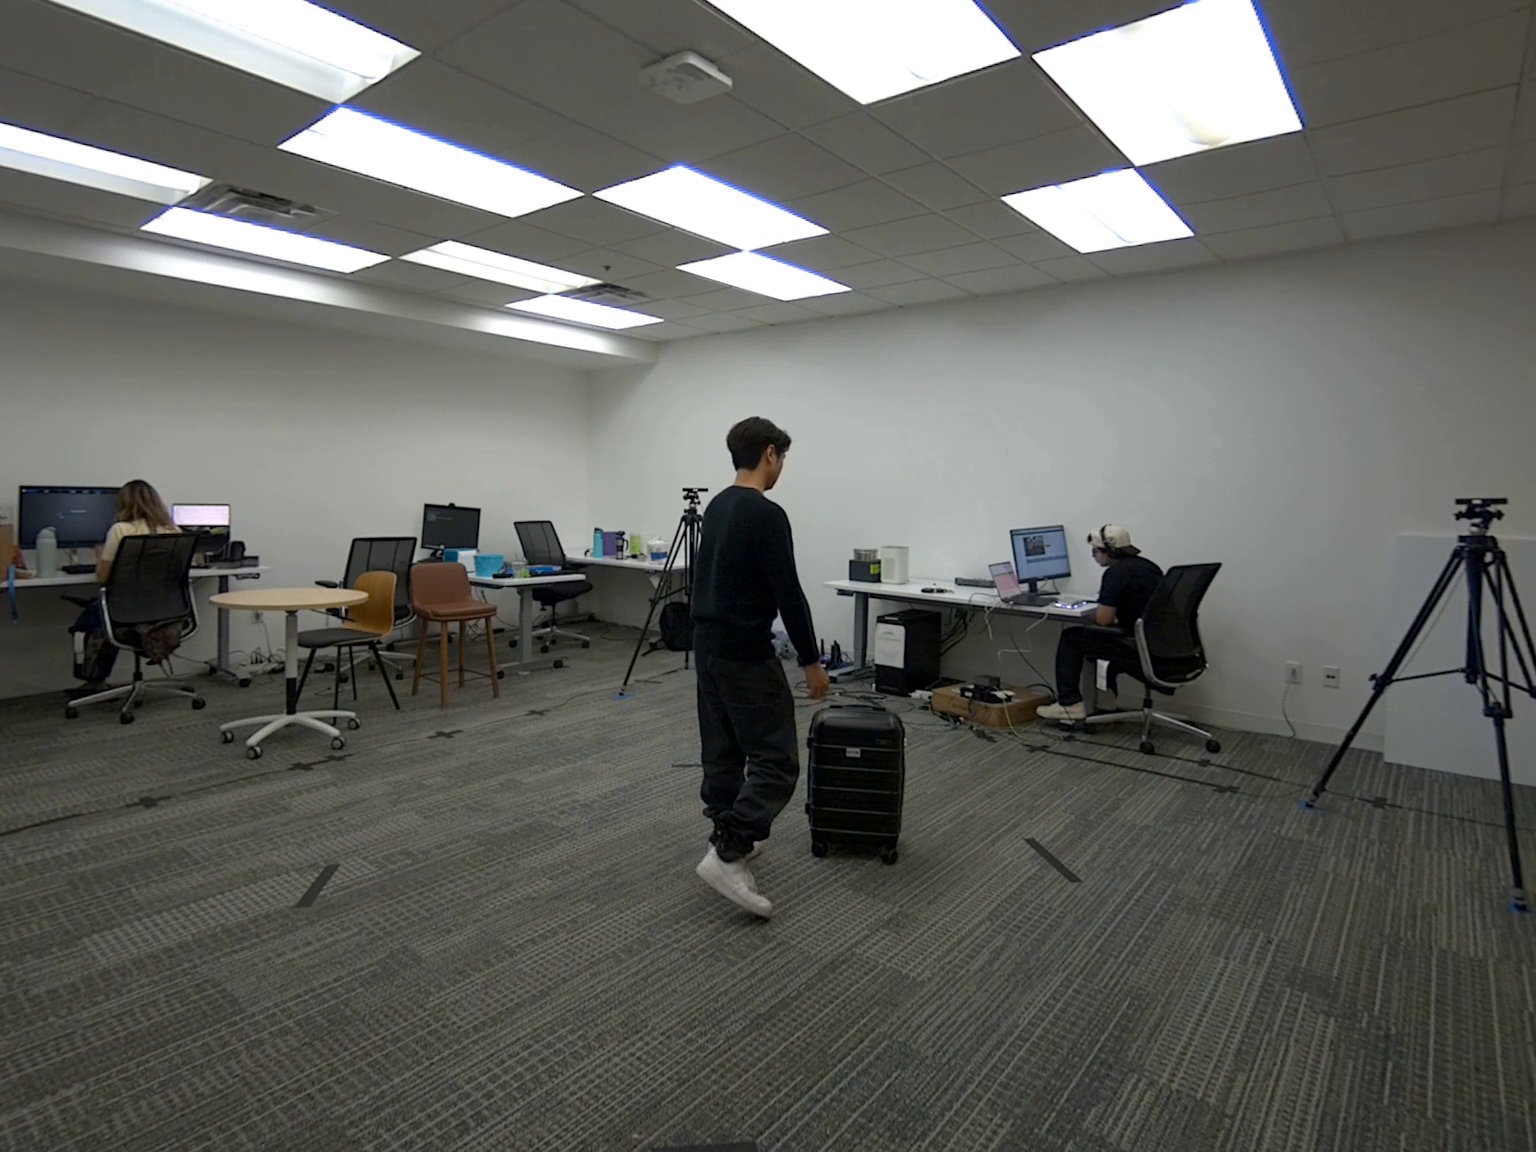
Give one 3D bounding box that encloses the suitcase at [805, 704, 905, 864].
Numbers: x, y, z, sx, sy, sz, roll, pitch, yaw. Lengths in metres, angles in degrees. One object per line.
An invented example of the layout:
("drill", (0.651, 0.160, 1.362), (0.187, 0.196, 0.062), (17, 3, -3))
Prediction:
("suitcase", (0.345, 0.782, 3.341), (0.379, 0.547, 0.247), (2, 4, 7))
